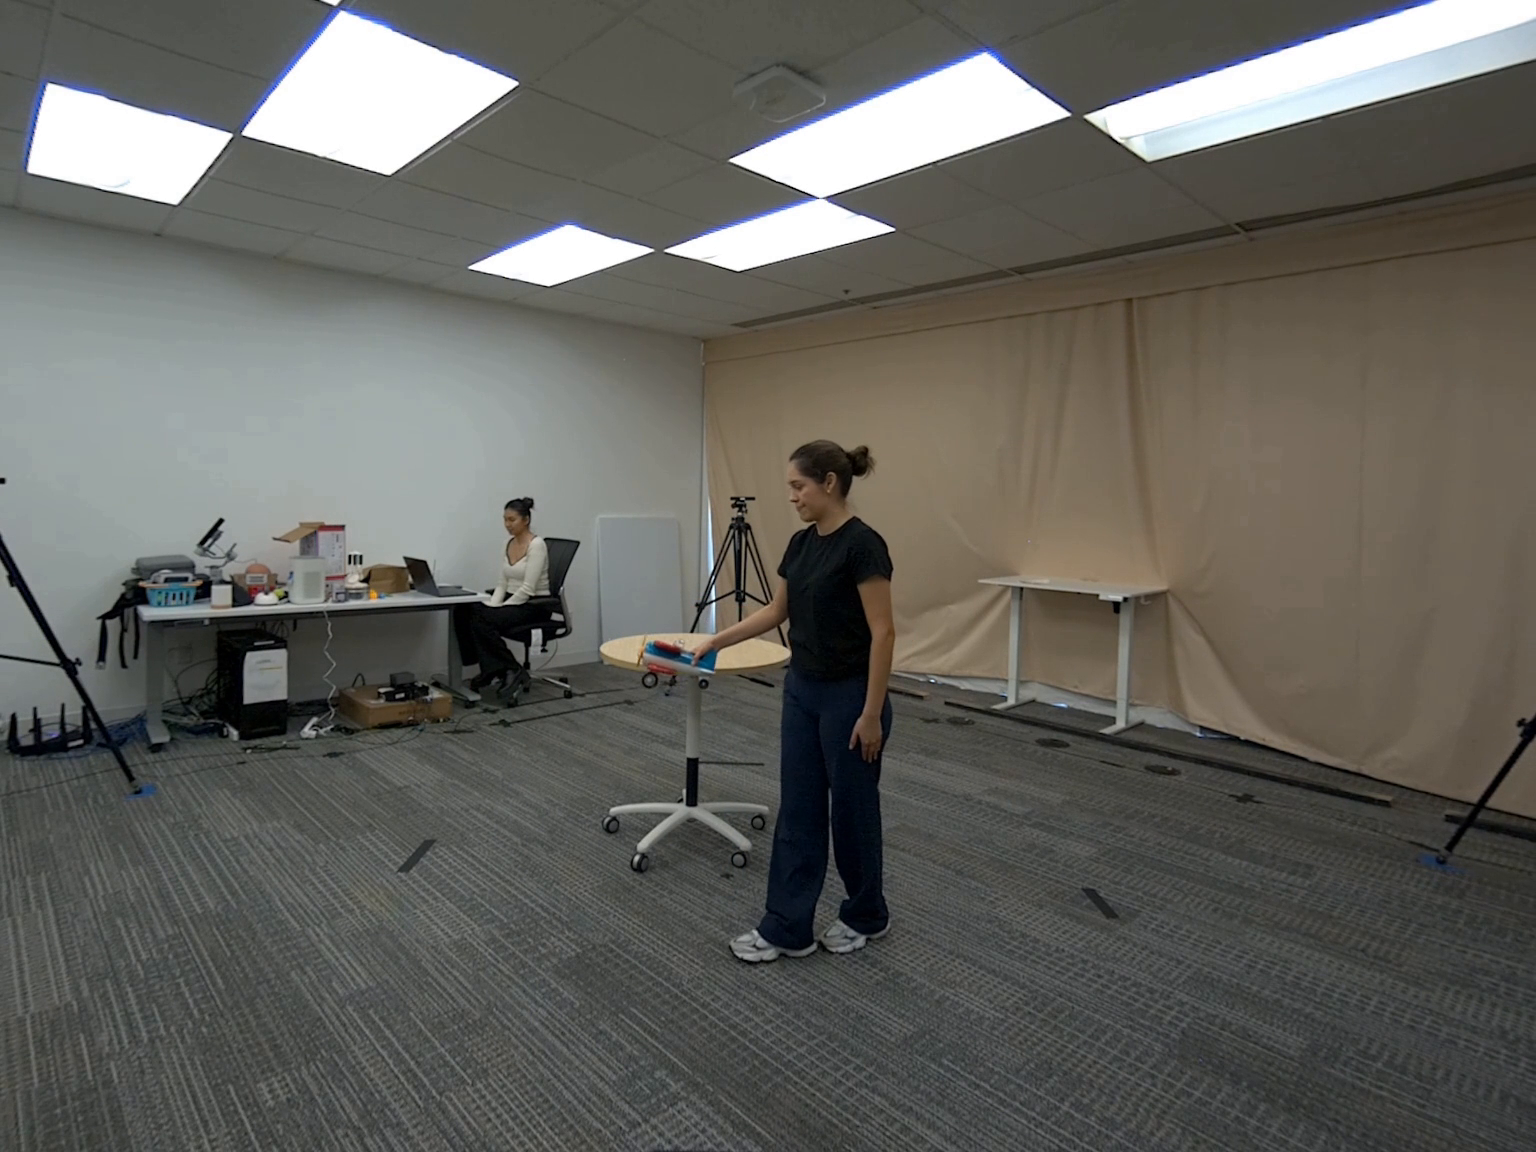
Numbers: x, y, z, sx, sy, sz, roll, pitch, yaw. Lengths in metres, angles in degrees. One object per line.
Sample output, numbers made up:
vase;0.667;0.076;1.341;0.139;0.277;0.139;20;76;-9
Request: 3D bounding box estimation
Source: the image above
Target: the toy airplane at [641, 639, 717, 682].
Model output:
toy airplane;-0.309;0.290;2.799;0.253;0.157;0.256;3;-5;-32
